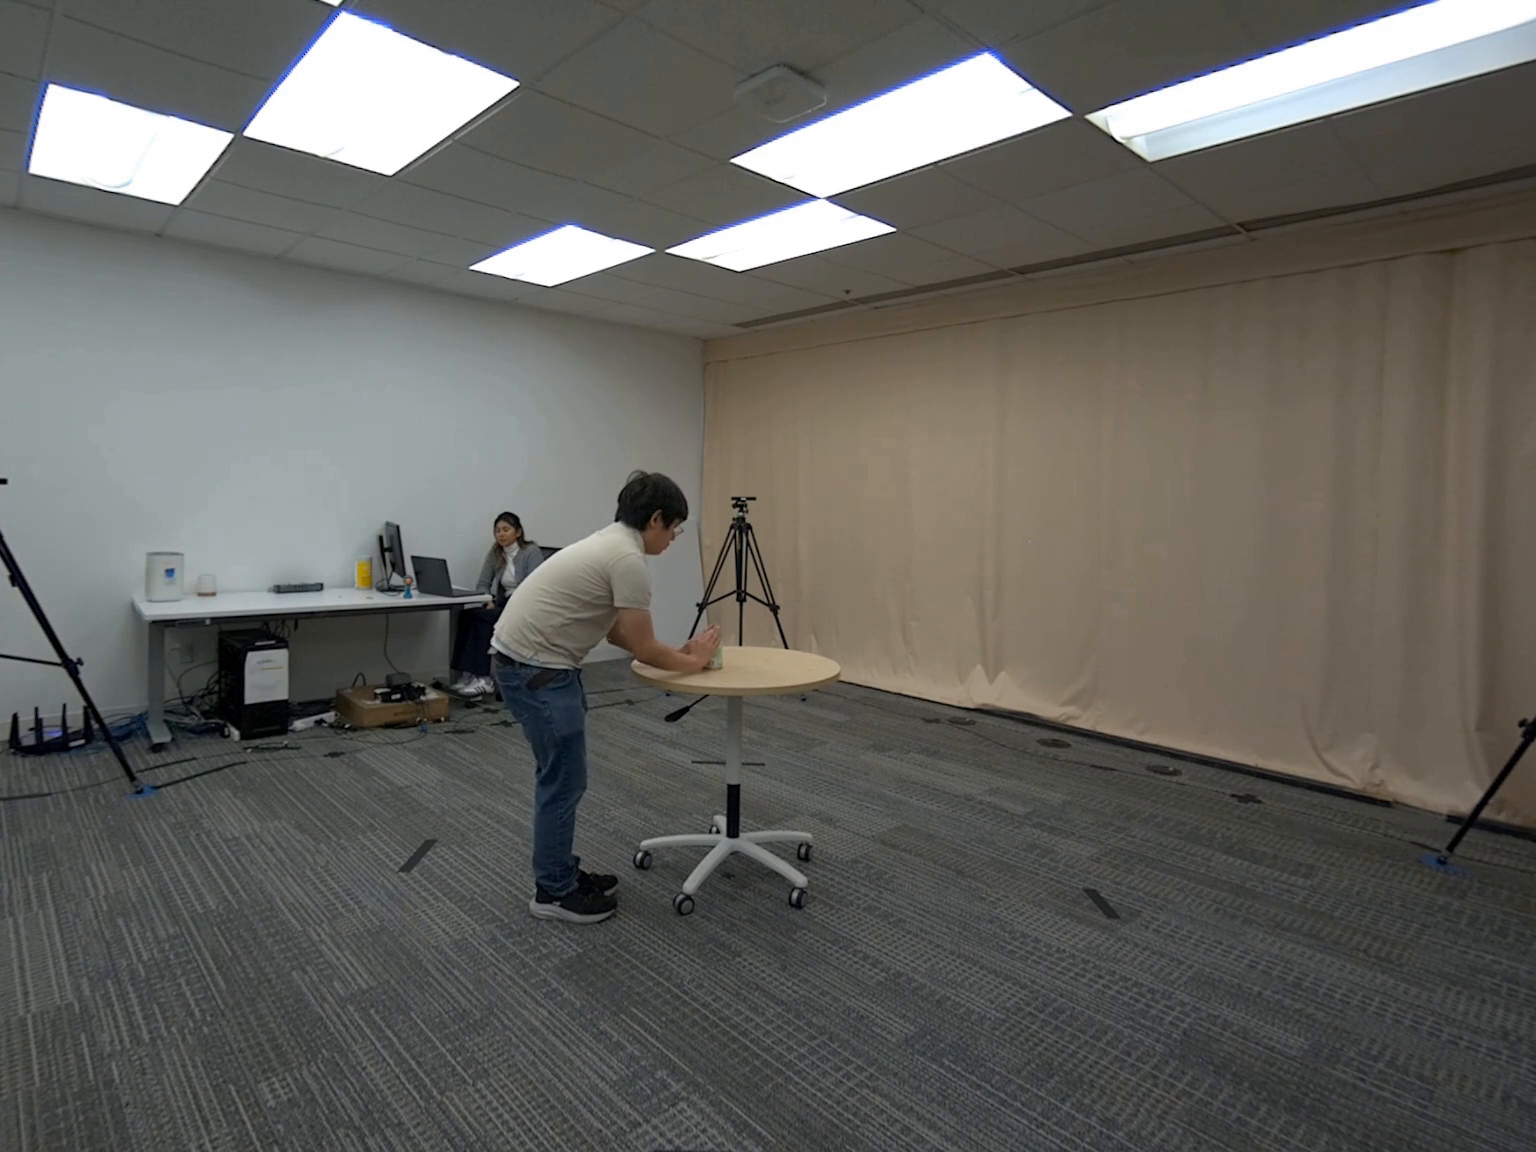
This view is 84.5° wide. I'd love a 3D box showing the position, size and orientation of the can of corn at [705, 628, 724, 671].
[{"bbox_3d":[-0.206,0.278,3.018,0.074,0.111,0.074,0,4,-1],"label":"can of corn"}]
